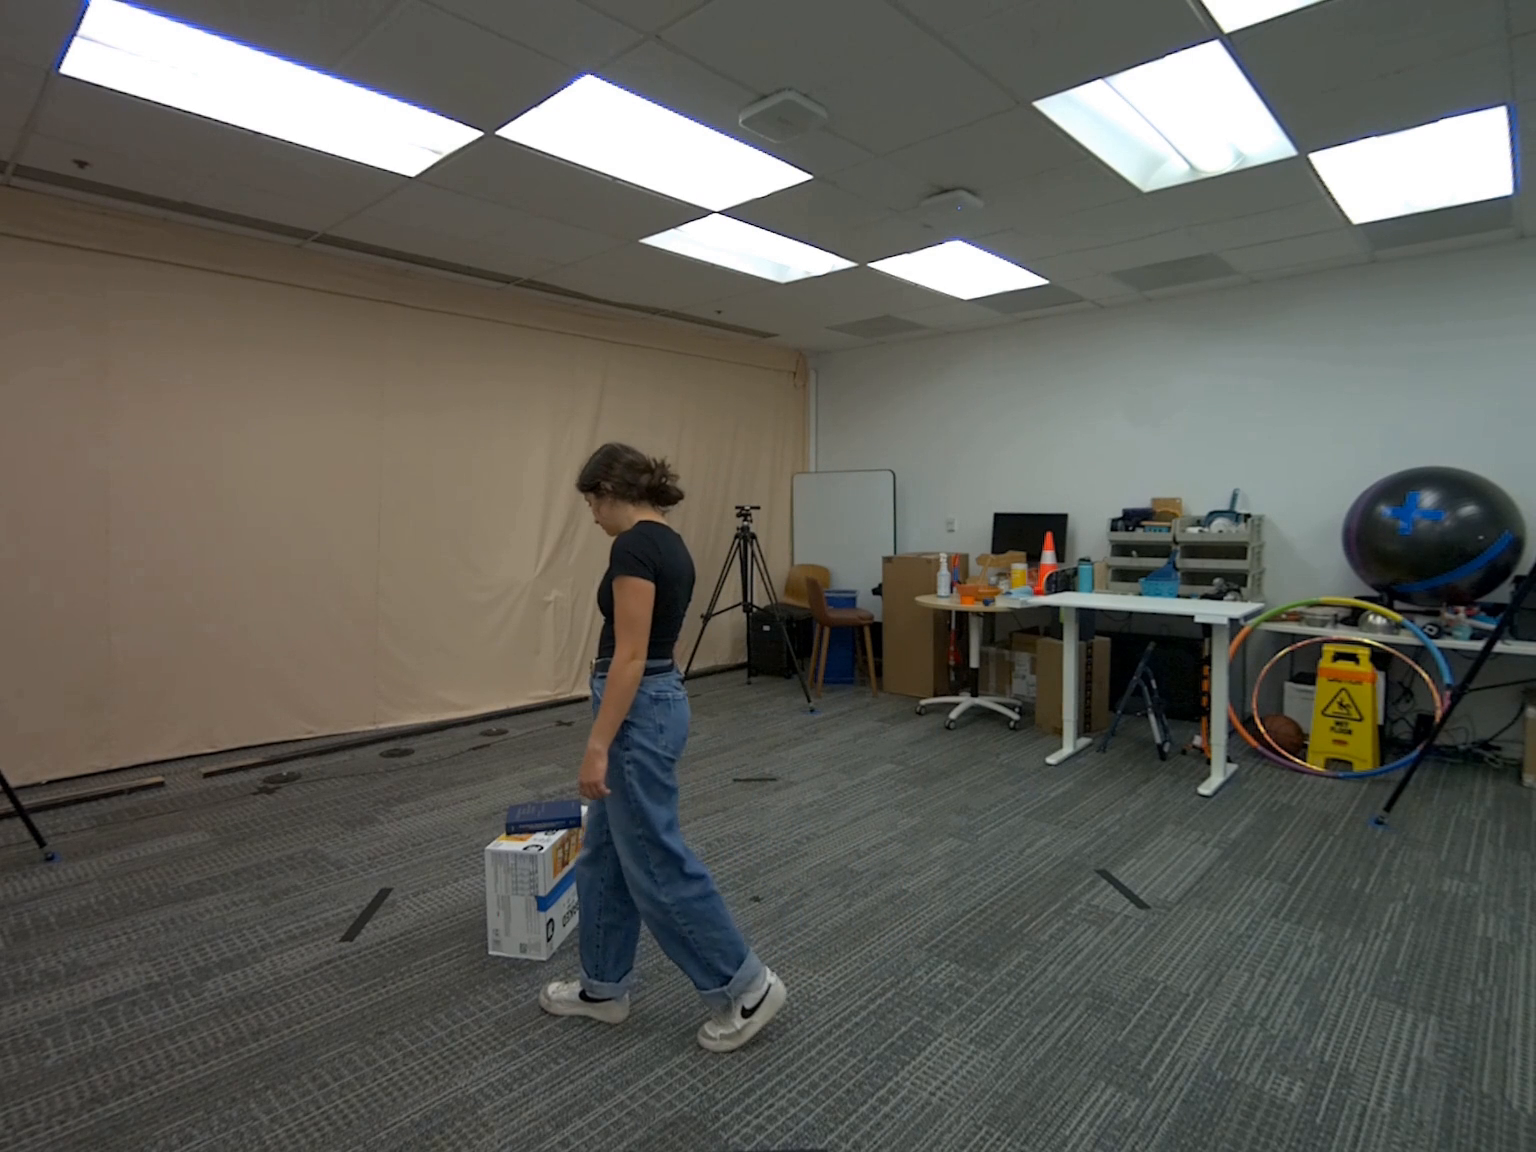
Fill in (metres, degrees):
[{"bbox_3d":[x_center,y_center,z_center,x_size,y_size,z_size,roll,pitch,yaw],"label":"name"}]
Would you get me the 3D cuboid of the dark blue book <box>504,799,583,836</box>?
[{"bbox_3d":[-0.753,0.802,2.814,0.242,0.045,0.165,-1,4,-11],"label":"dark blue book"}]
